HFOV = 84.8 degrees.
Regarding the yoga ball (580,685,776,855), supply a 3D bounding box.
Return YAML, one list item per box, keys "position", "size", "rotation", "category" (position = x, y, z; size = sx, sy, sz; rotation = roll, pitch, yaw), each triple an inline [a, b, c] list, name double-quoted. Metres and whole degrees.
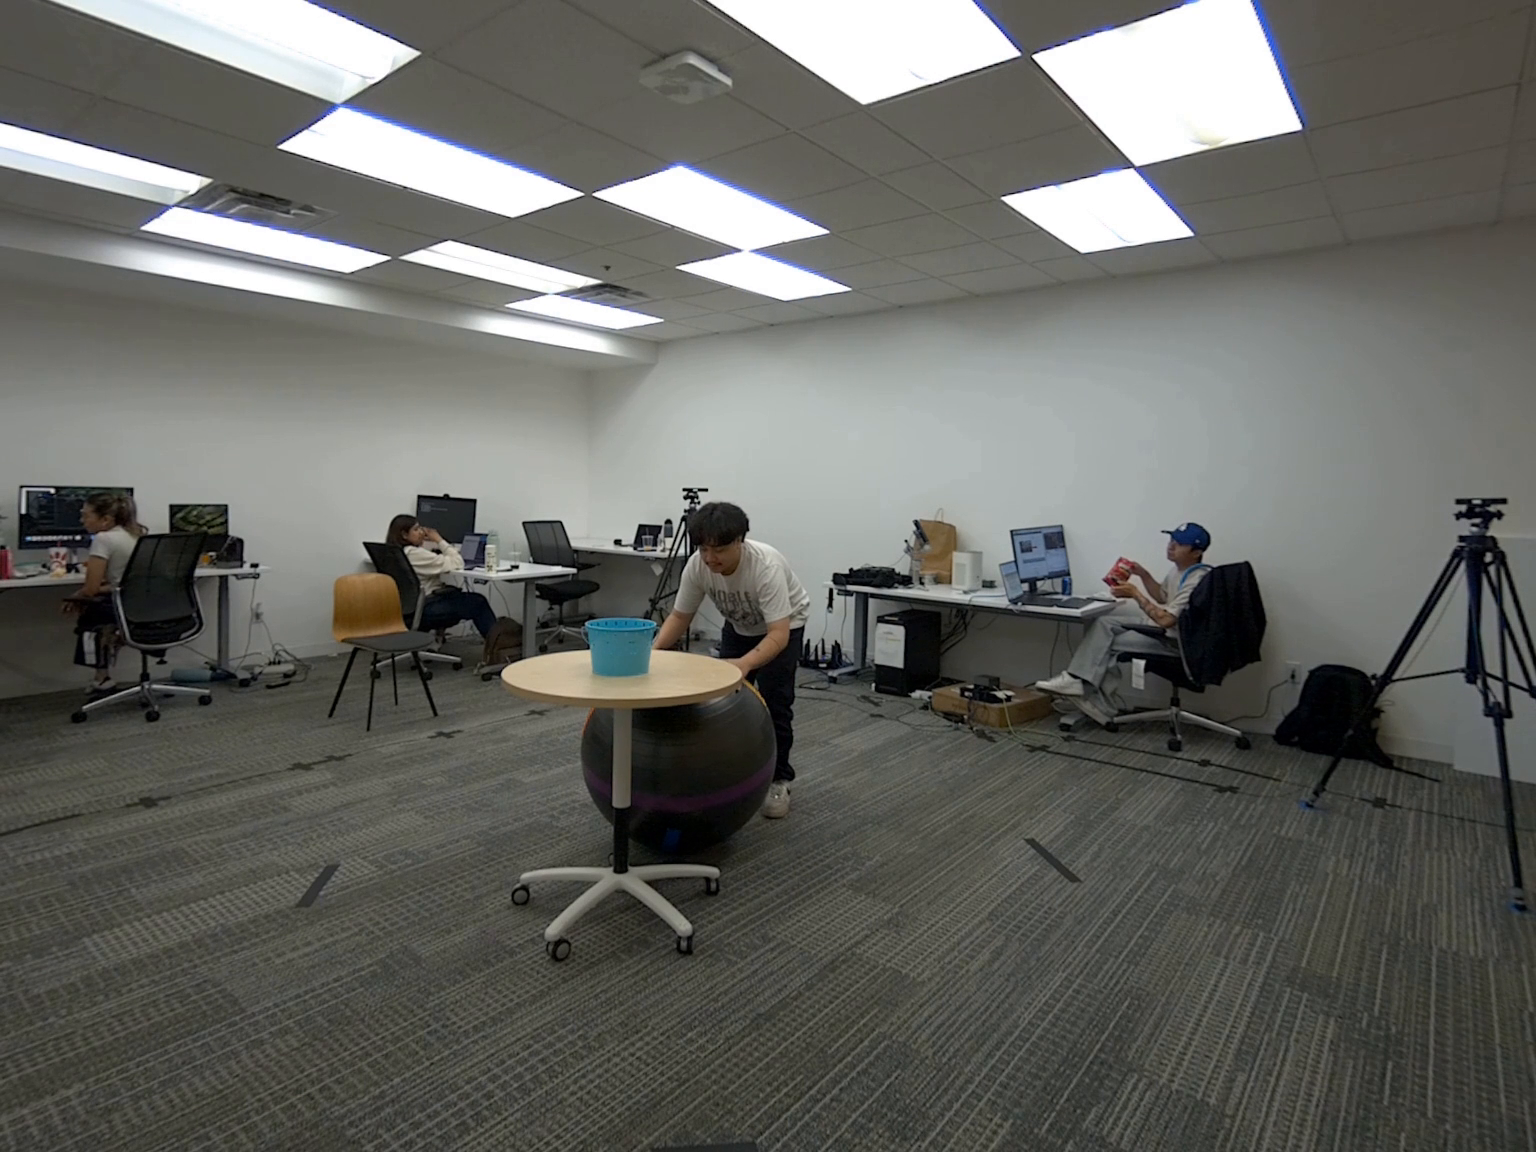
- position: [-0.356, 0.679, 3.330]
  size: [0.757, 0.755, 0.762]
  rotation: [1, 4, -2]
  category: "yoga ball"
